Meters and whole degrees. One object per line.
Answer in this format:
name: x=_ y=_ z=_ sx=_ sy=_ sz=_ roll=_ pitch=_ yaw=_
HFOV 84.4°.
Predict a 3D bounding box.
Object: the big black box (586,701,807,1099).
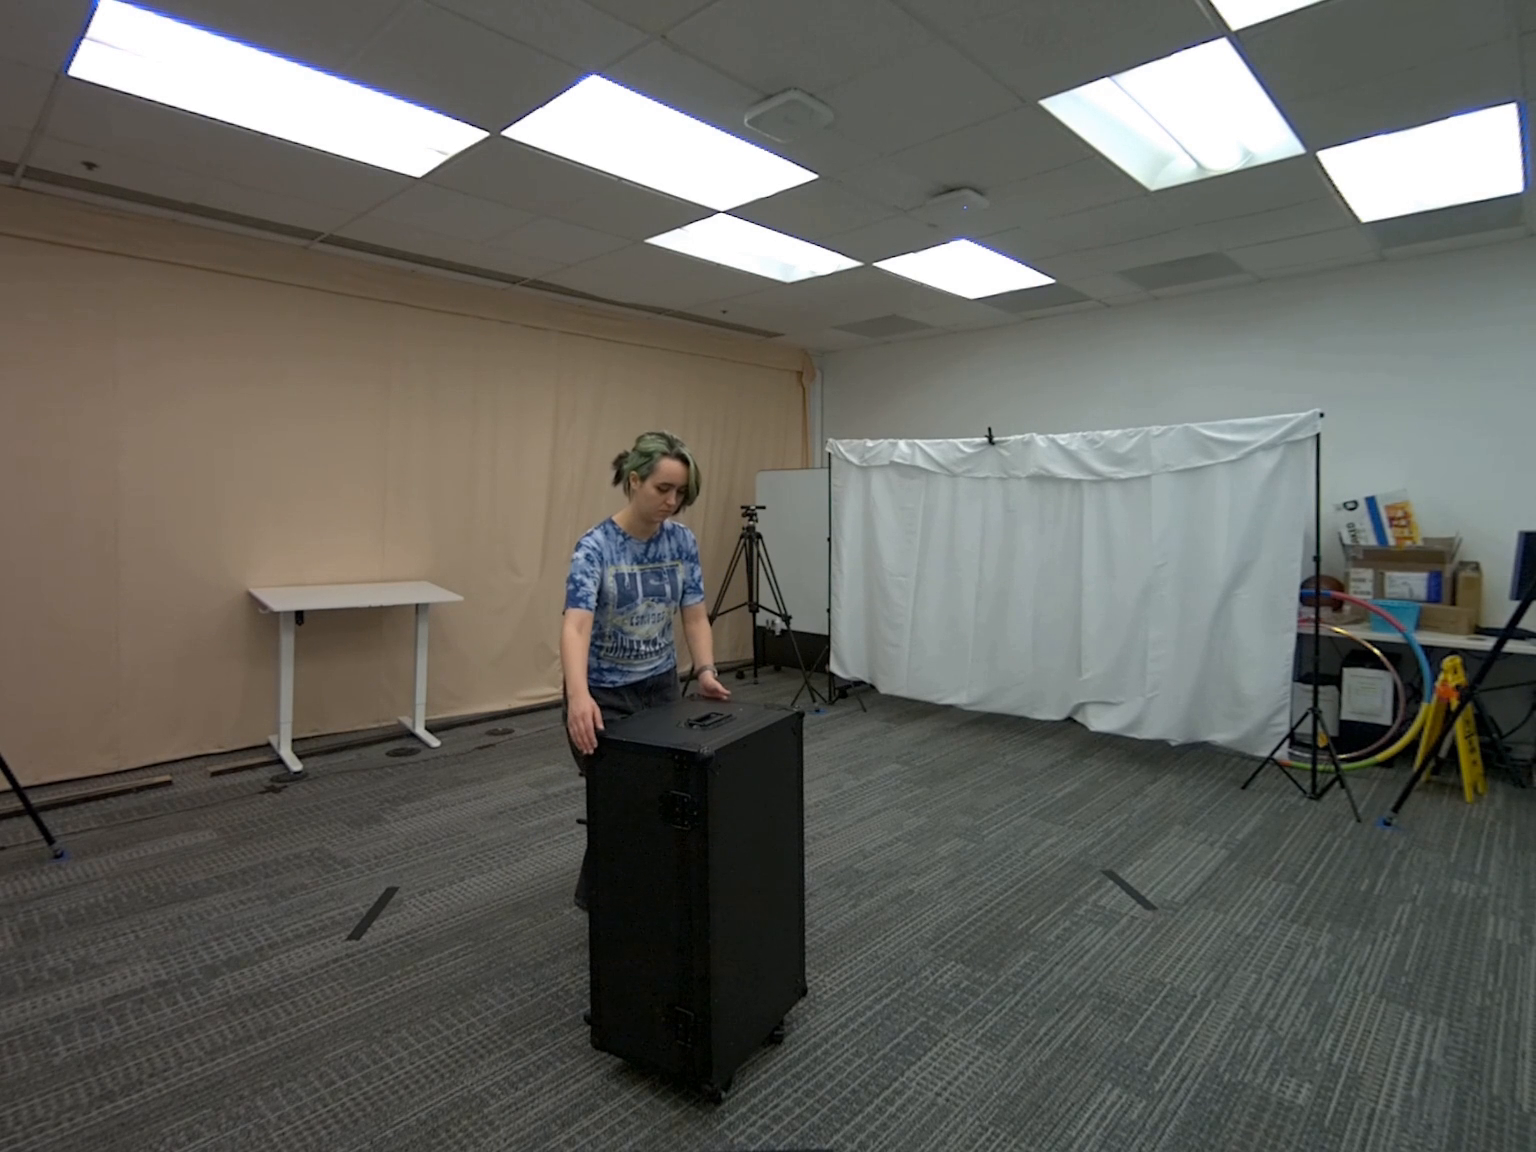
big black box: x=-0.174 y=0.791 z=2.153 sx=0.408 sy=0.860 sz=0.507 roll=1 pitch=4 yaw=31
